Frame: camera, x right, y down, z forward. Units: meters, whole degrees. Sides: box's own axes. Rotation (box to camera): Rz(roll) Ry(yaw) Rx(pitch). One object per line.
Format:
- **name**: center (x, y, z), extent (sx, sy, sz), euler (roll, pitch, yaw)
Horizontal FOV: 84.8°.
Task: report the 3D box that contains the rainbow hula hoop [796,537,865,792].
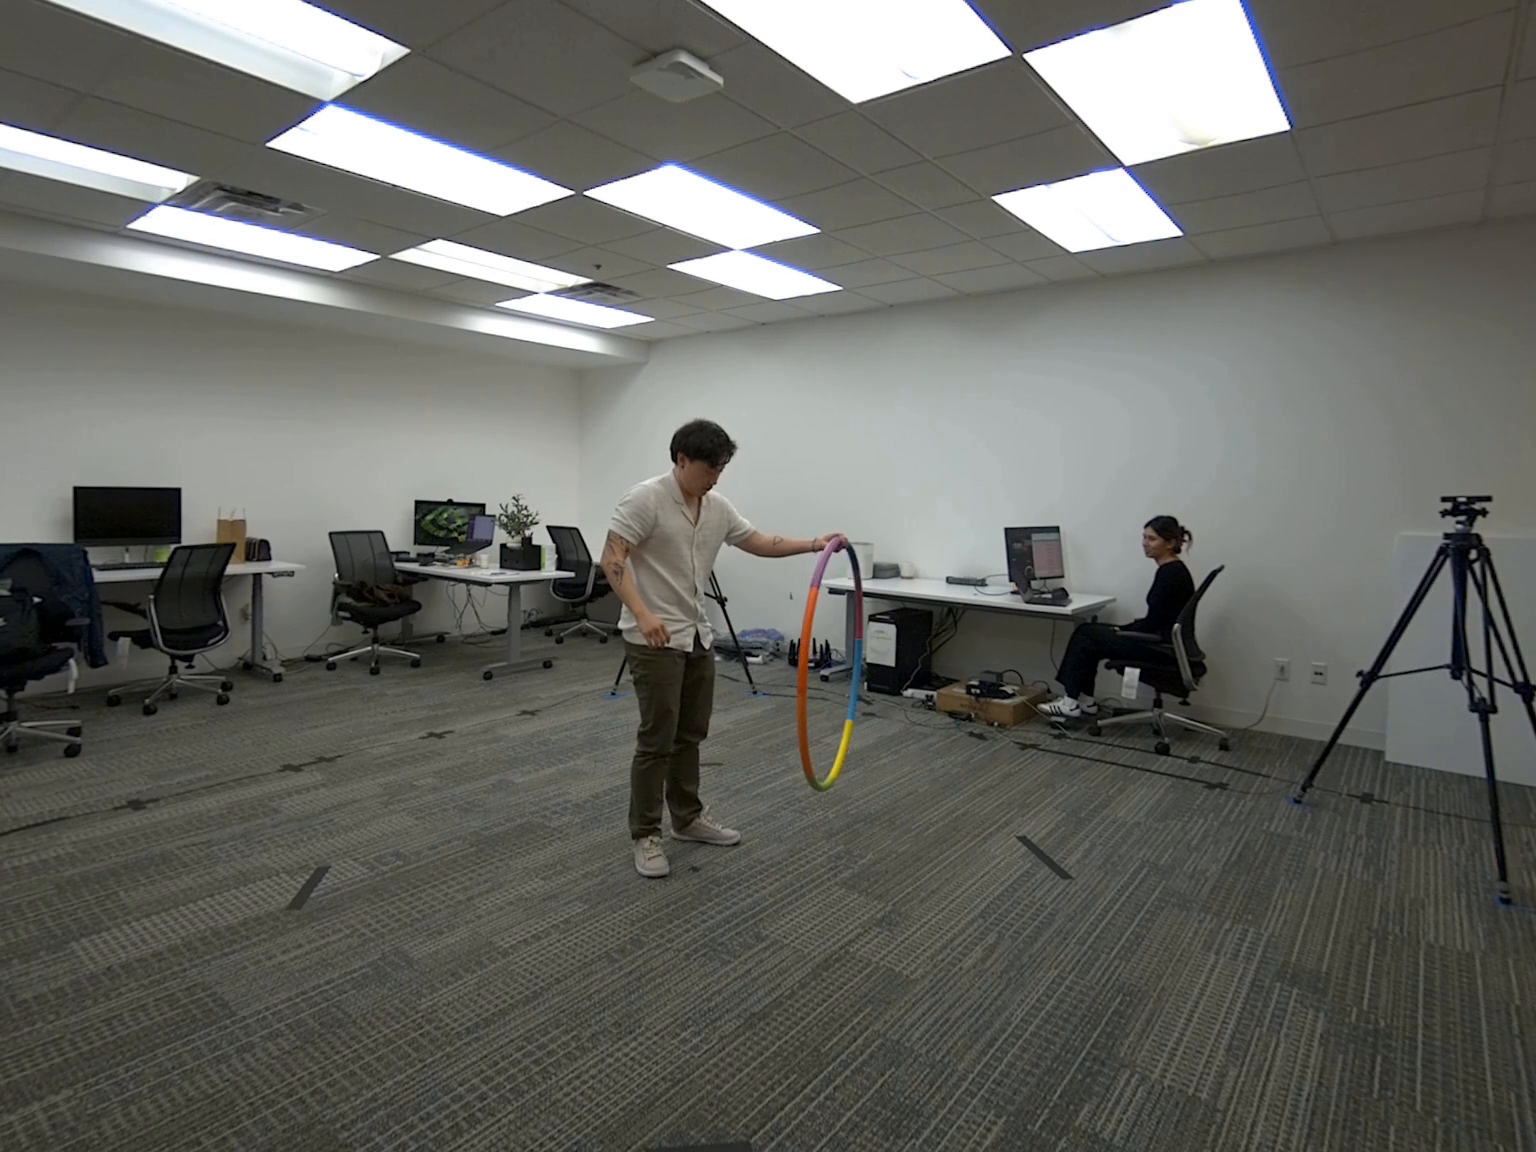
- **rainbow hula hoop**: center (0.251, 0.350, 3.354), extent (0.036, 0.975, 0.961), euler (3, 5, 19)
